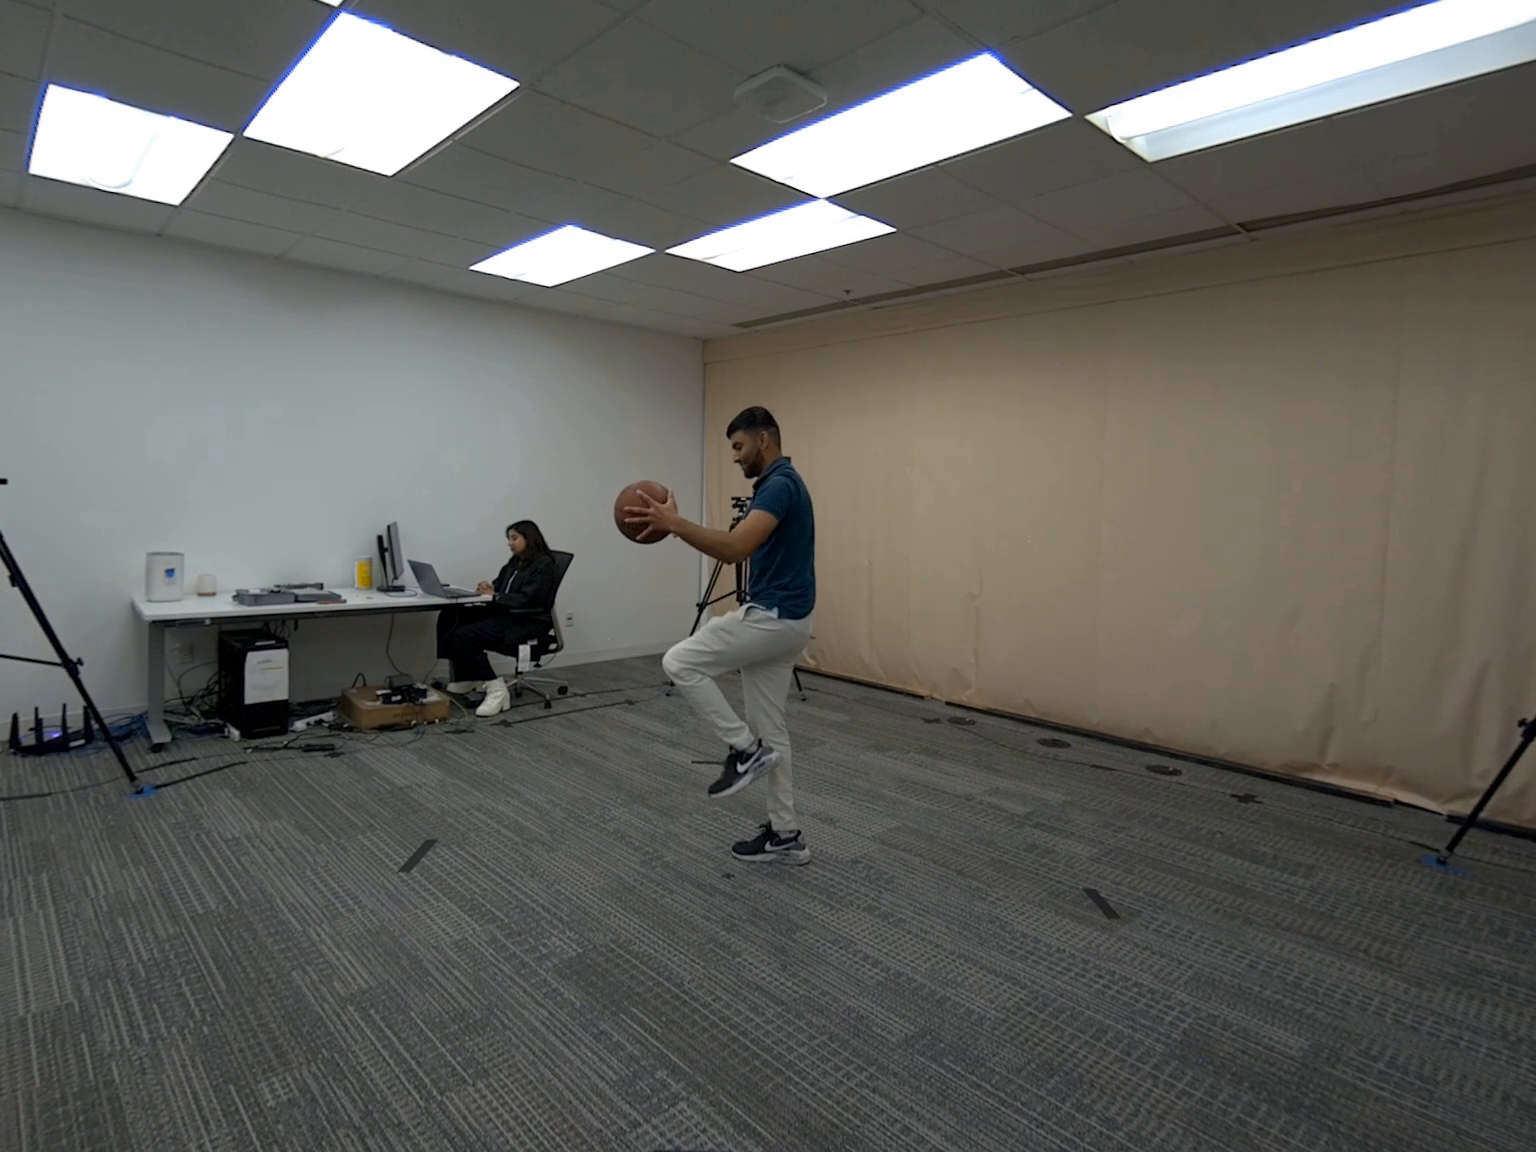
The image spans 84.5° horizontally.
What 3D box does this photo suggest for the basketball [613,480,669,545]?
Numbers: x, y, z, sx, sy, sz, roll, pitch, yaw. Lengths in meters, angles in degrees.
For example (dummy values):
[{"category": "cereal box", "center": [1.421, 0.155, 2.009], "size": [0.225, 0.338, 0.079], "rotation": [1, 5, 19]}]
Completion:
[{"category": "basketball", "center": [-0.461, -0.211, 3.159], "size": [0.236, 0.235, 0.237], "rotation": [1, 4, -1]}]
